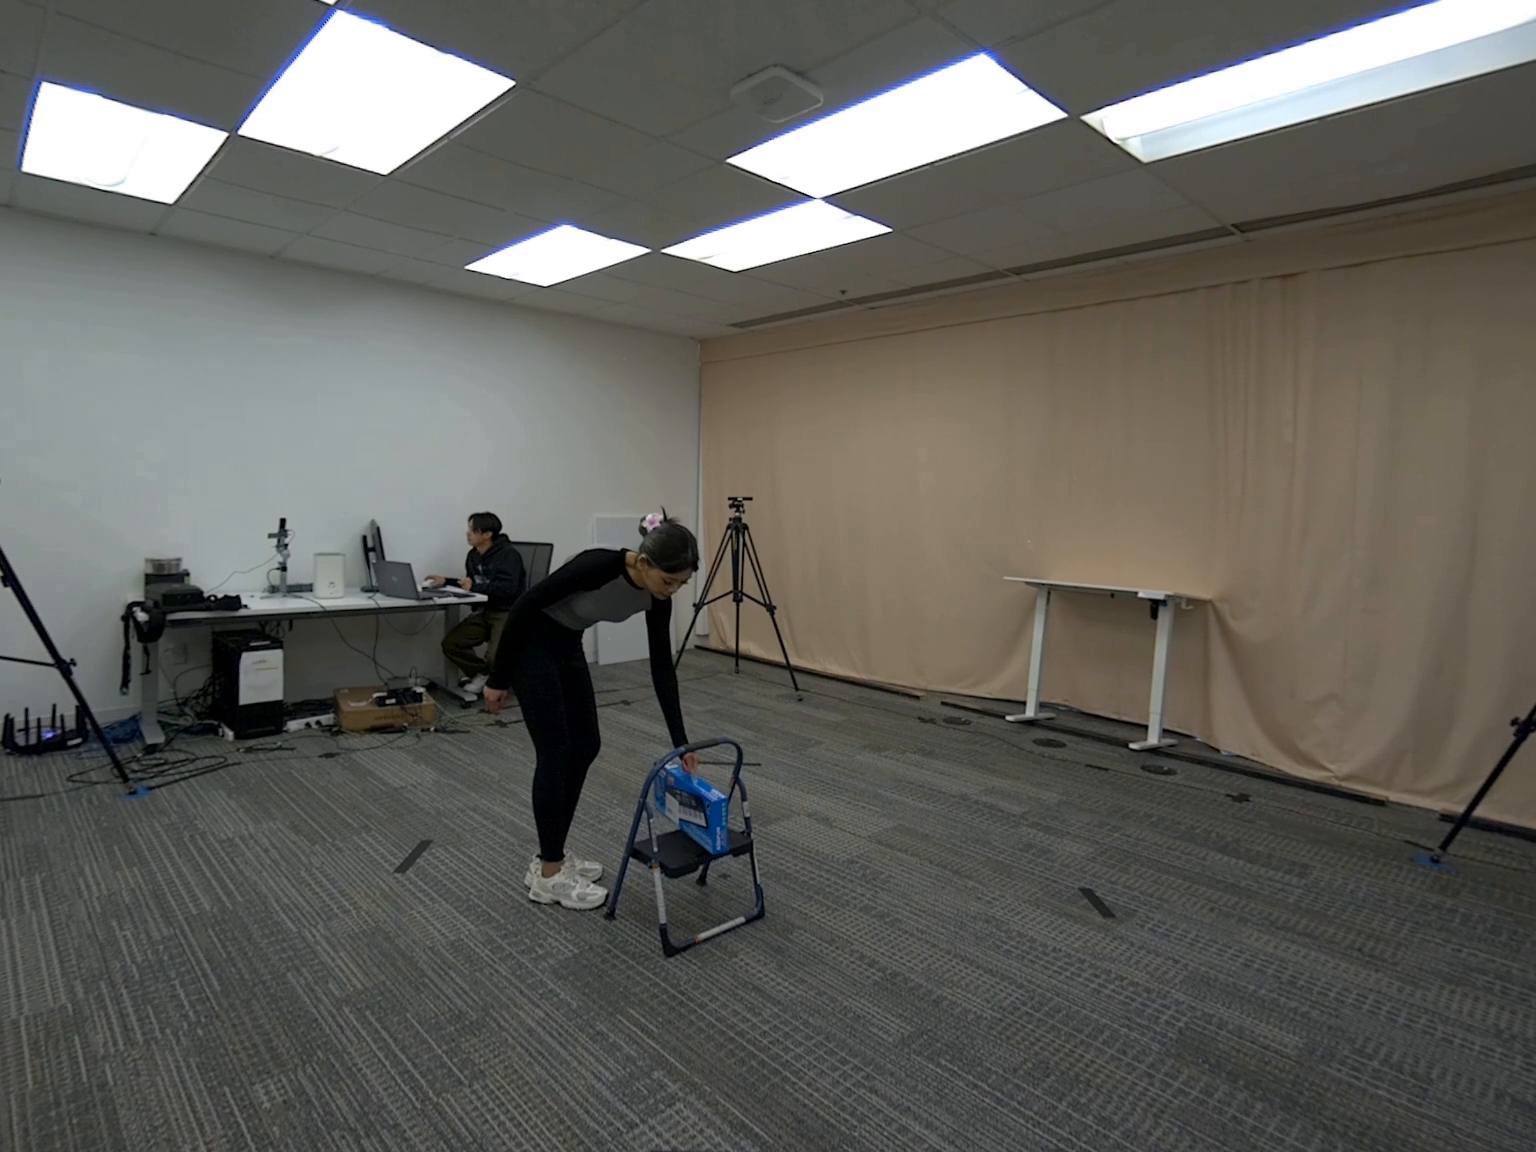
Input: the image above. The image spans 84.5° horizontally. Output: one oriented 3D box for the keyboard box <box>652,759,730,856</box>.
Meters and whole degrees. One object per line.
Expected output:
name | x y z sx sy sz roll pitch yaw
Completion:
keyboard box | -0.270 0.755 2.787 0.058 0.175 0.447 -1 6 -30
